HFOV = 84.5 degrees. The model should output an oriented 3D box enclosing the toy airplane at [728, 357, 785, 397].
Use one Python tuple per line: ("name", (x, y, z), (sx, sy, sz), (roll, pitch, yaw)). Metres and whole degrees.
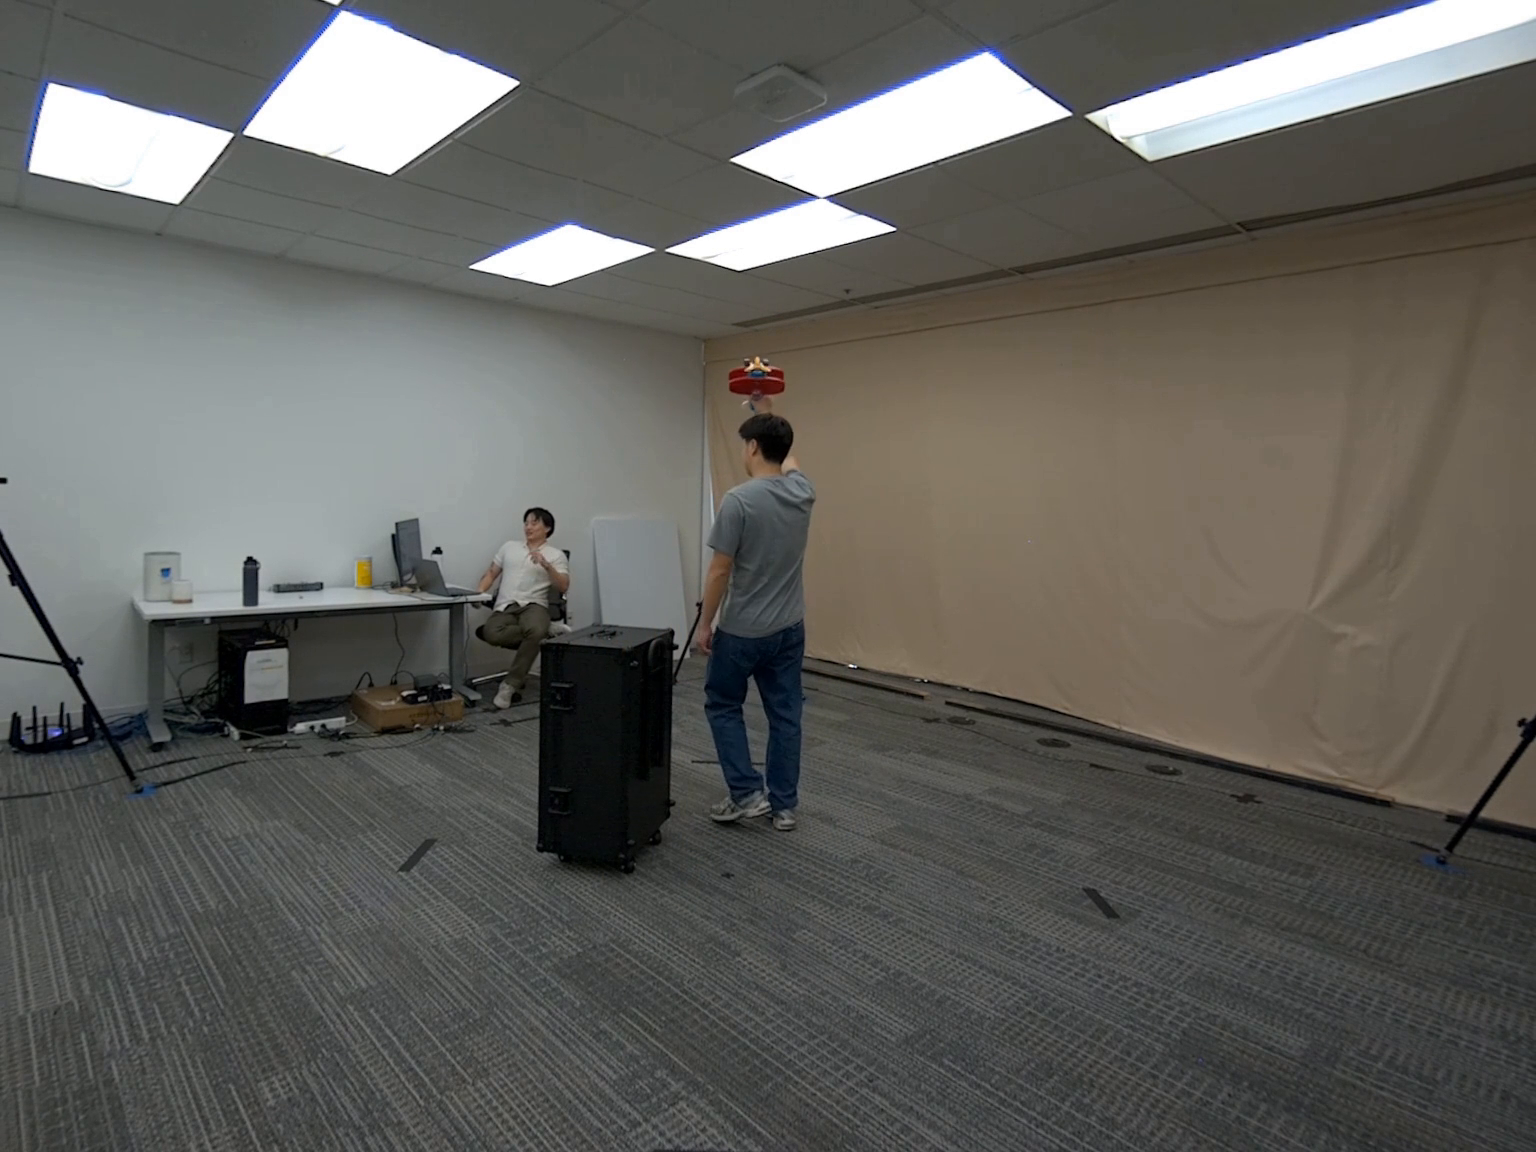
("toy airplane", (-0.052, -0.872, 3.868), (0.252, 0.252, 0.160), (-23, 33, 14))
